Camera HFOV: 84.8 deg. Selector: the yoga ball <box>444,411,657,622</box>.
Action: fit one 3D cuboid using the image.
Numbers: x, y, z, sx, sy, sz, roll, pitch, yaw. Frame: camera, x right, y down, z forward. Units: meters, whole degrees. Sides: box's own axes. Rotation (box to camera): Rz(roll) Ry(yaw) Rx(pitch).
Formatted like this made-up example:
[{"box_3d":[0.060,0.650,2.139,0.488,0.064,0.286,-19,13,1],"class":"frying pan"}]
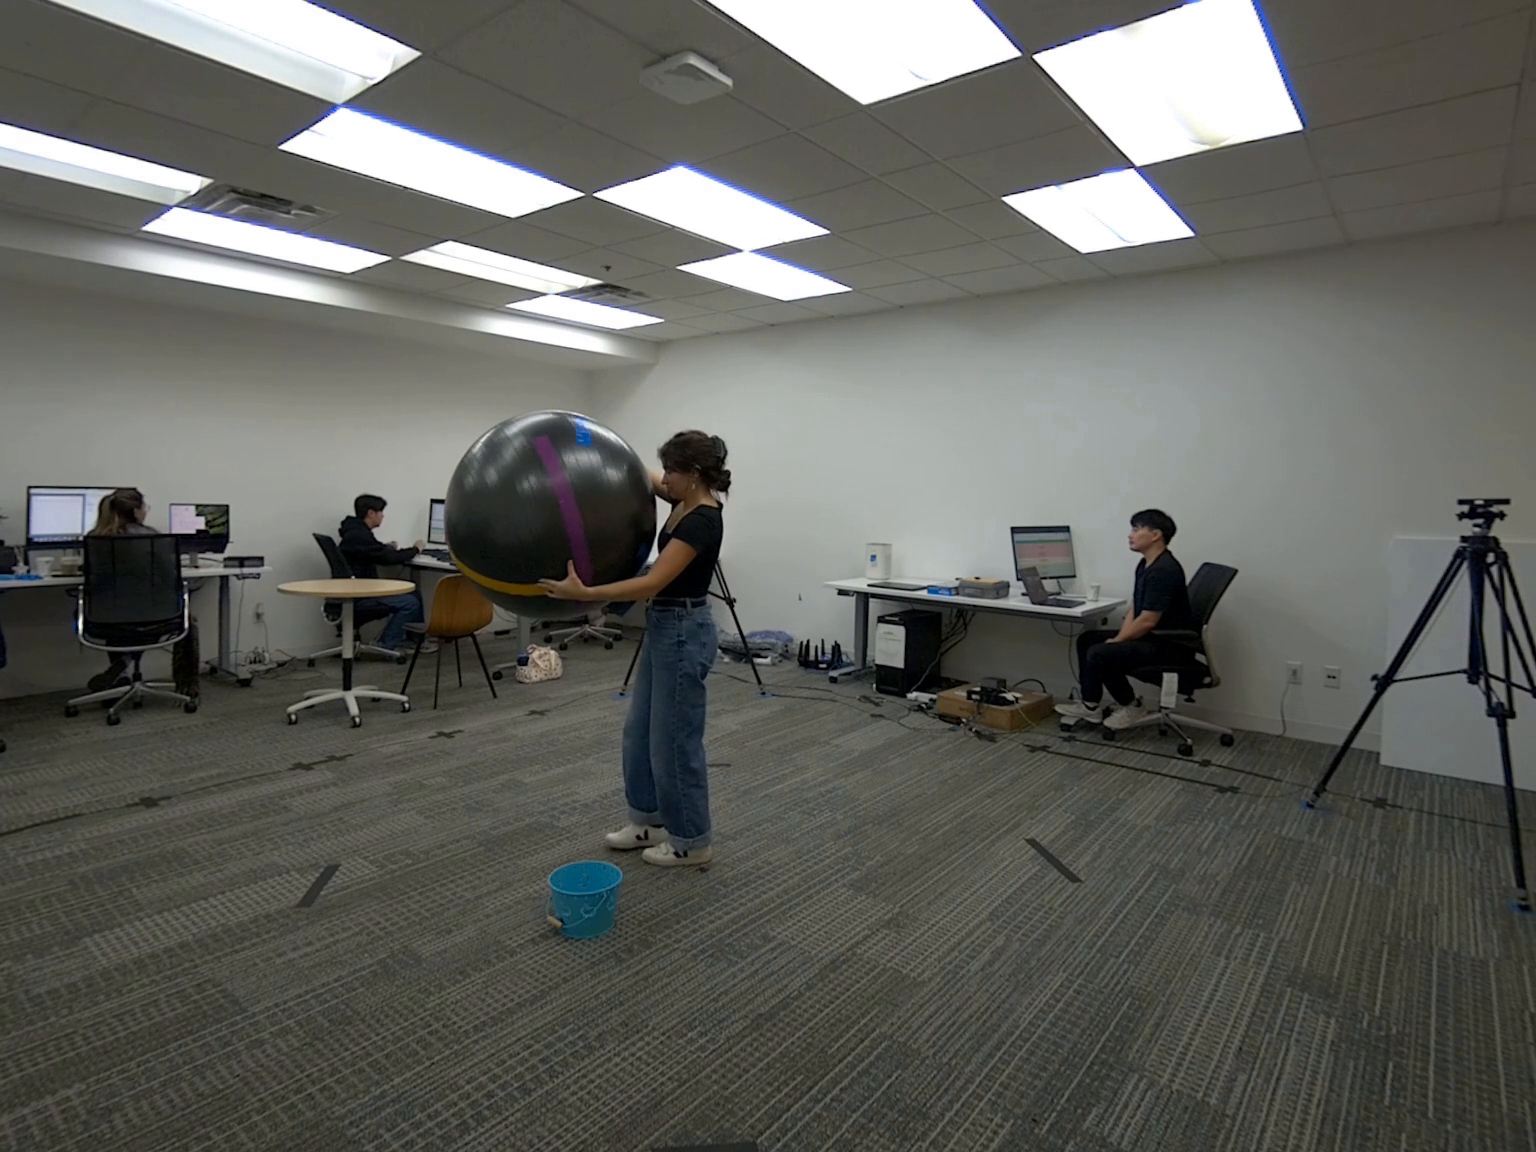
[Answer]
[{"box_3d":[-0.806,-0.219,3.094,0.757,0.755,0.762,1,4,-2],"class":"yoga ball"}]
